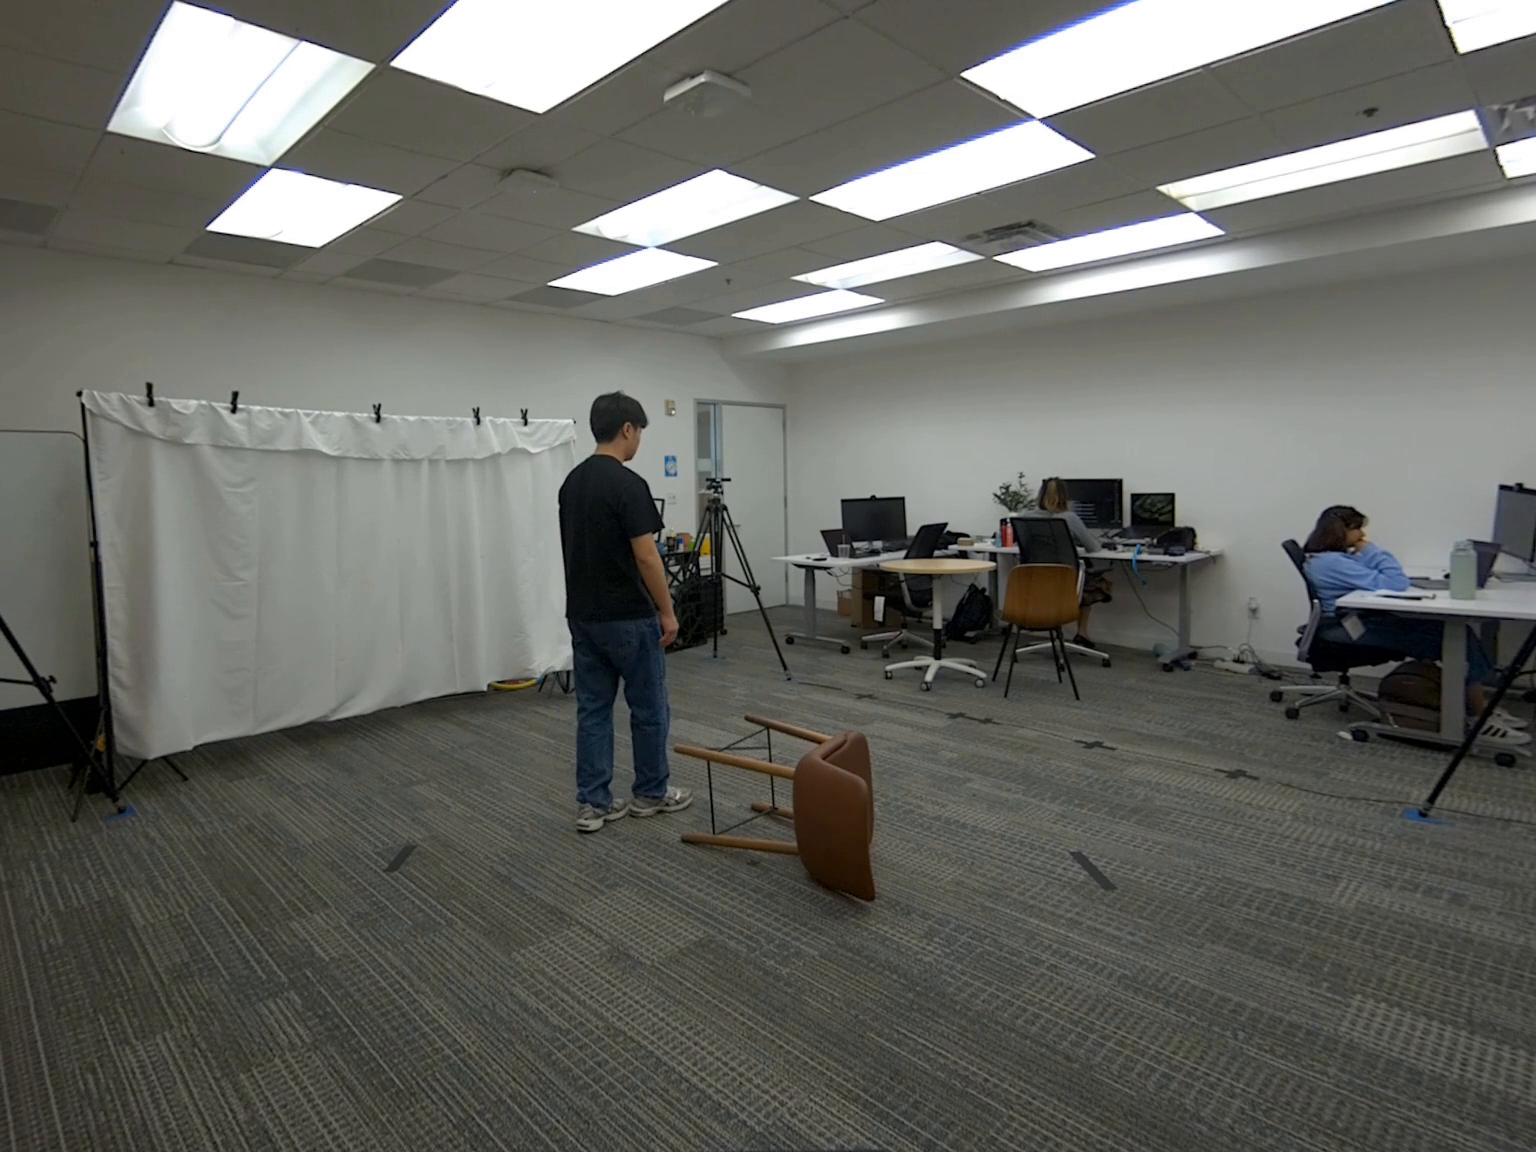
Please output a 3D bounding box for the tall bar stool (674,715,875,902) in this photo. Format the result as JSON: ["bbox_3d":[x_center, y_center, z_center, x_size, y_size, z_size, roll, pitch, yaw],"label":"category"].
[{"bbox_3d":[0.127,0.819,3.158,0.916,0.455,0.456,1,6,43],"label":"tall bar stool"}]
